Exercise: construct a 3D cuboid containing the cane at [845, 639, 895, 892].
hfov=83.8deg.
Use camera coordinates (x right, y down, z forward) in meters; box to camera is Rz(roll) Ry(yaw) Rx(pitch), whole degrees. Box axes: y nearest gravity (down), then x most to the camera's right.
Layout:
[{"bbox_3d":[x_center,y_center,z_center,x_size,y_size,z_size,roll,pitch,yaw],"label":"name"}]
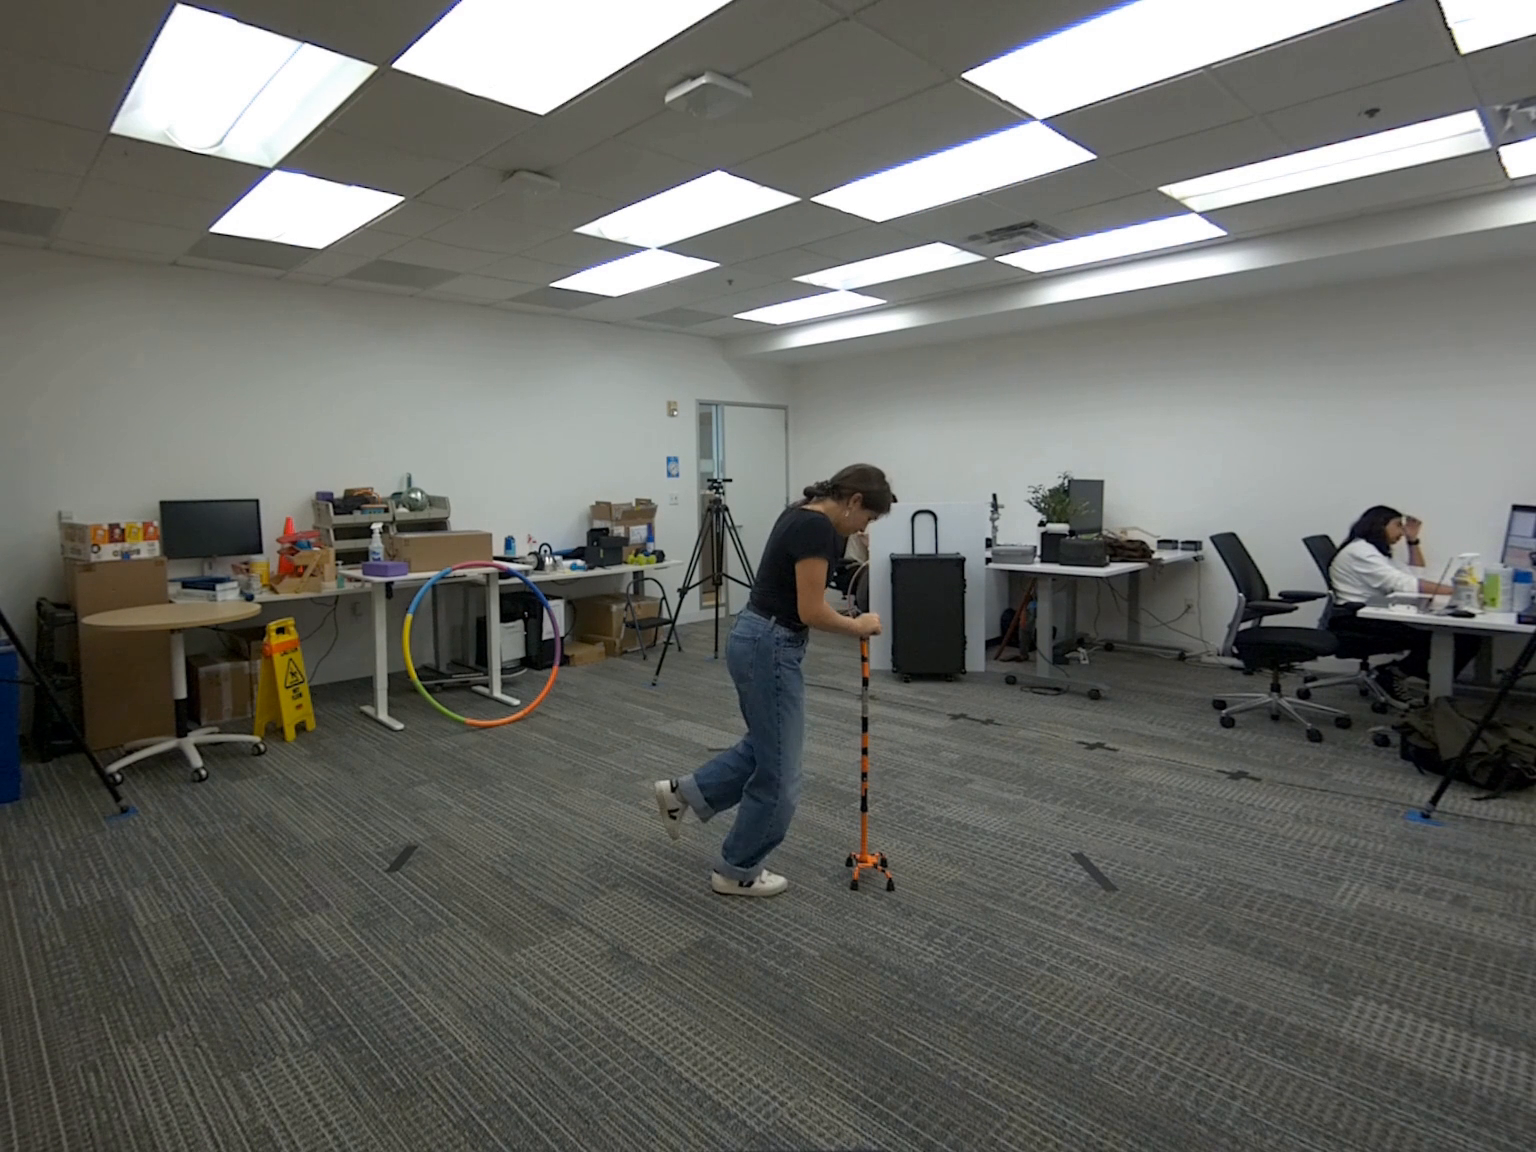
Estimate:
[{"bbox_3d":[0.351,0.595,2.956,0.152,0.905,0.207,0,3,1],"label":"cane"}]
